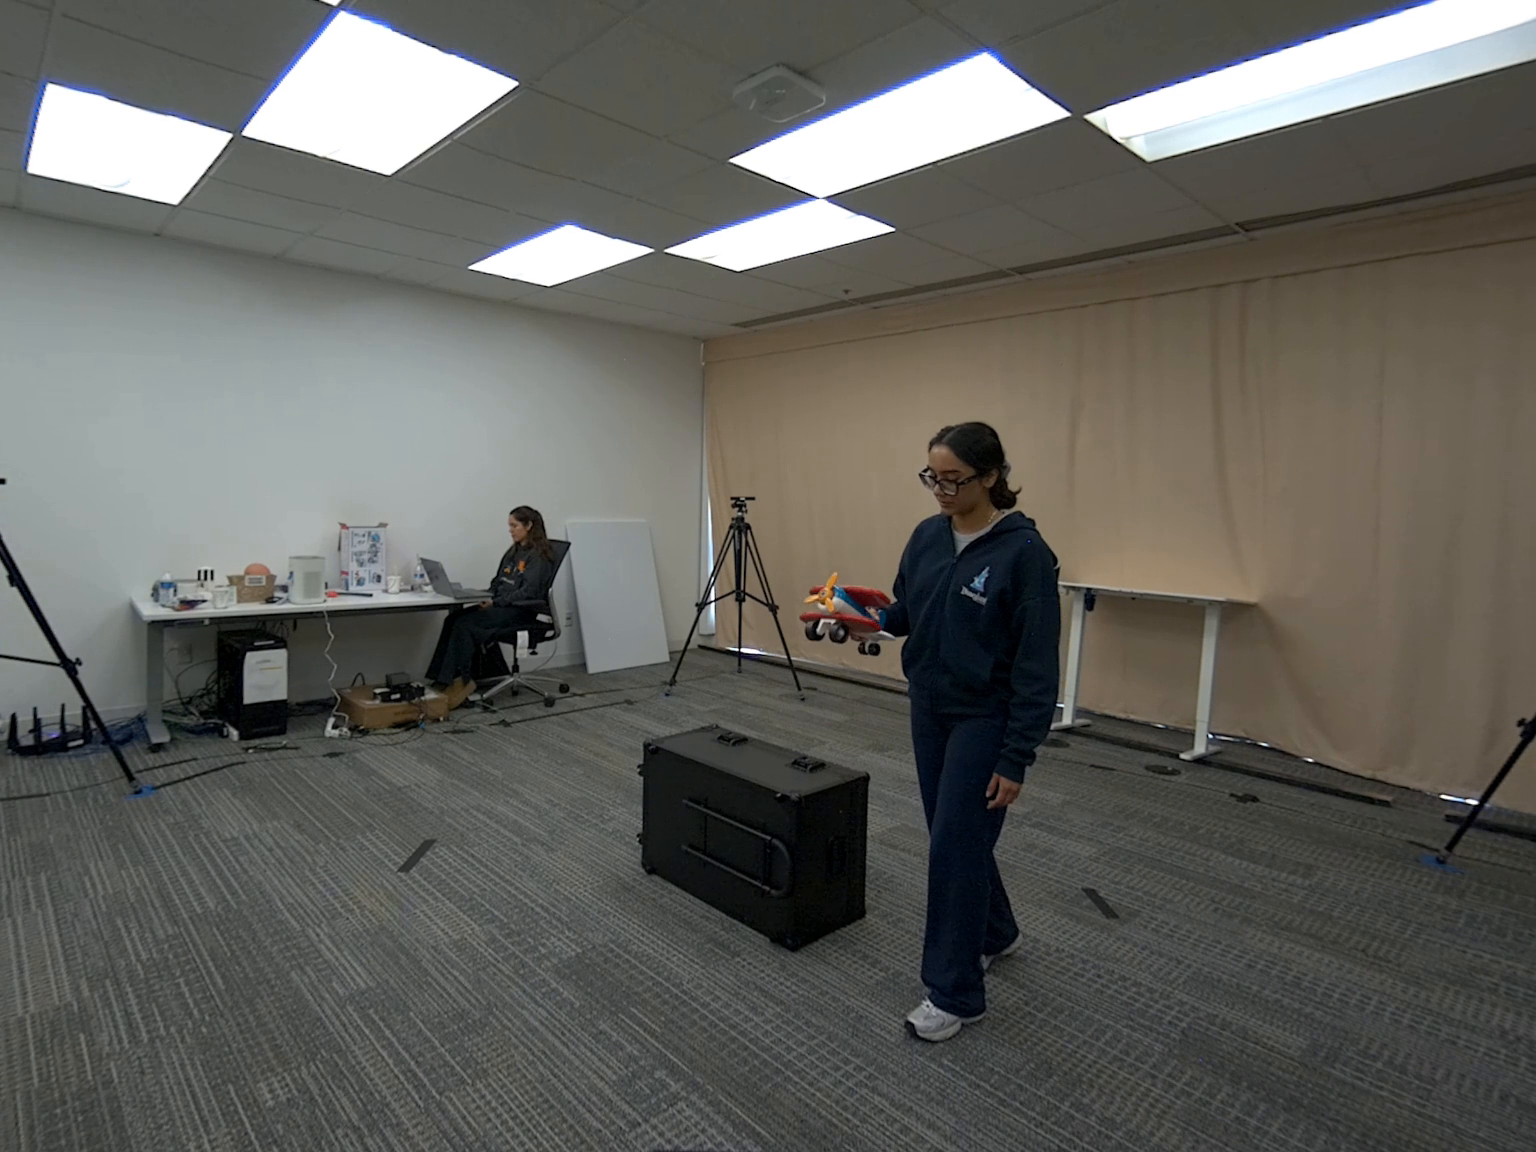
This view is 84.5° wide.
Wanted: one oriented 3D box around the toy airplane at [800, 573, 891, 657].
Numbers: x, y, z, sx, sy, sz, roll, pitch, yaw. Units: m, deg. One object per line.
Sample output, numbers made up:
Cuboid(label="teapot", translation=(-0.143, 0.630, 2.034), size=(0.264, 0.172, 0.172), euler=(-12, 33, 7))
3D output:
Cuboid(label="toy airplane", translation=(0.208, 0.120, 2.269), size=(0.256, 0.157, 0.253), euler=(8, -9, 21))
